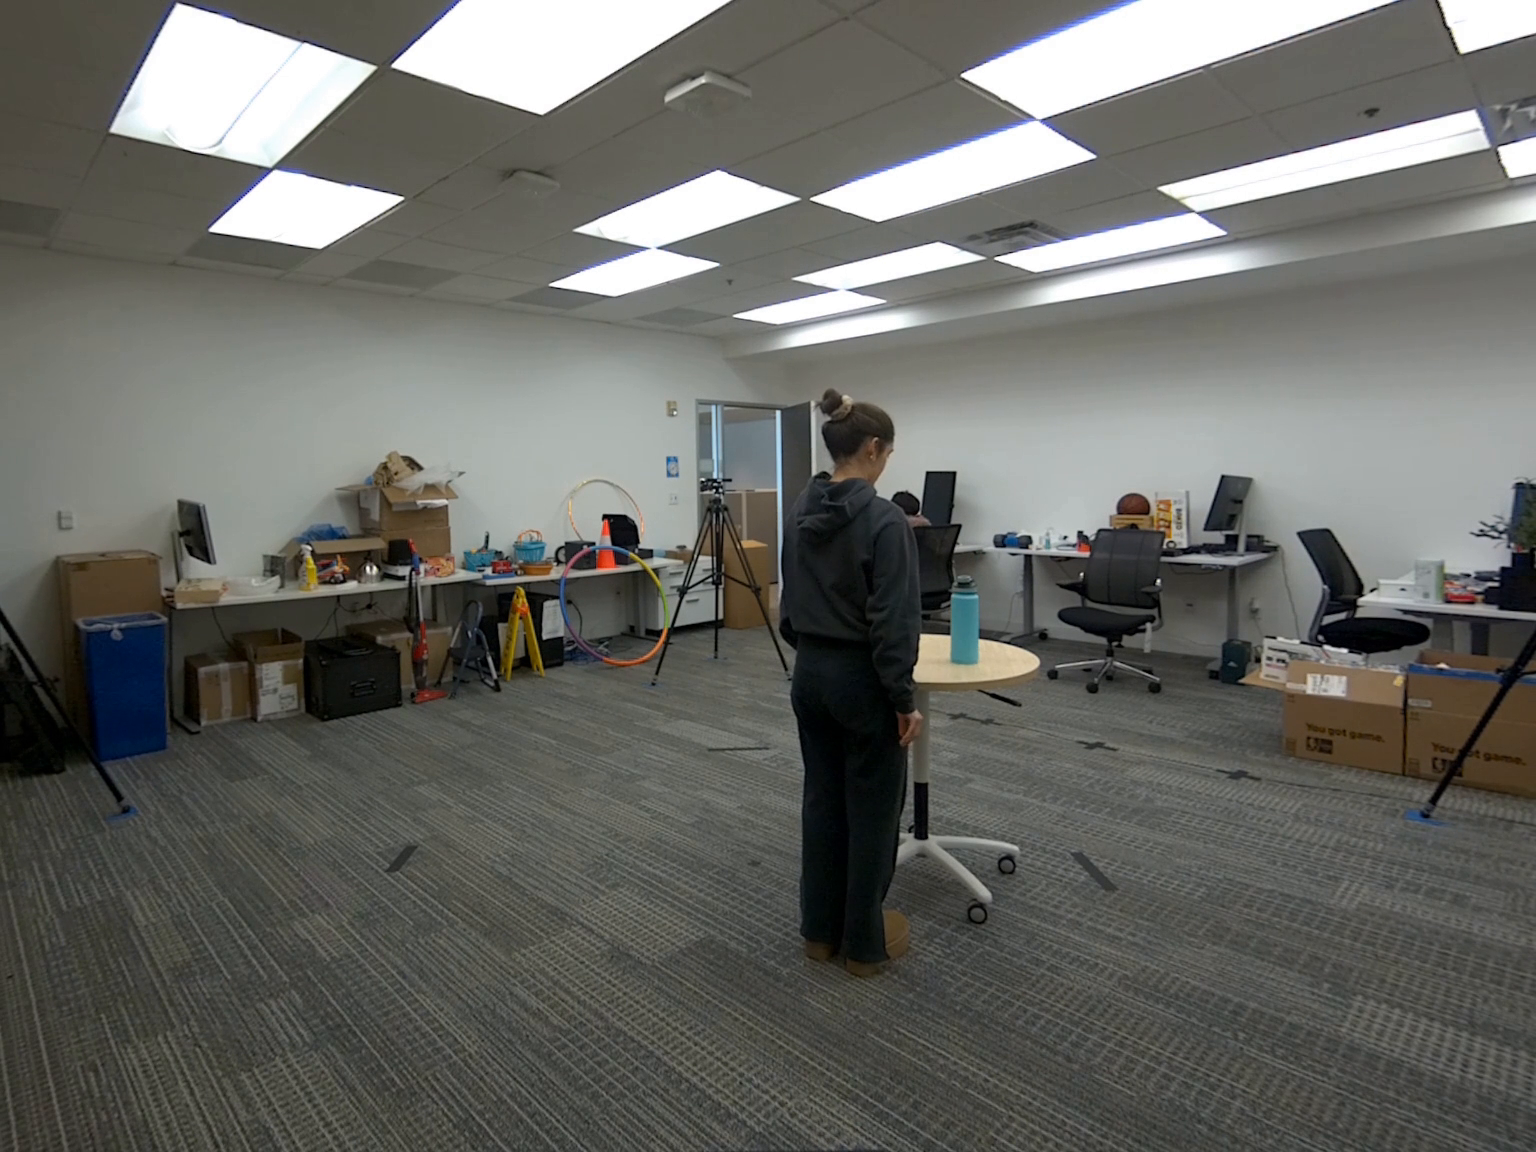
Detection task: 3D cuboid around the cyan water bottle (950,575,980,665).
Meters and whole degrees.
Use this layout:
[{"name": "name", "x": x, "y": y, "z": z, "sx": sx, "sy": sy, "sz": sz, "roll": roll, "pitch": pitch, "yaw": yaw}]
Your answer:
[{"name": "cyan water bottle", "x": 0.653, "y": 0.143, "z": 2.804, "sx": 0.092, "sy": 0.283, "sz": 0.092, "roll": -2, "pitch": 3, "yaw": -2}]
